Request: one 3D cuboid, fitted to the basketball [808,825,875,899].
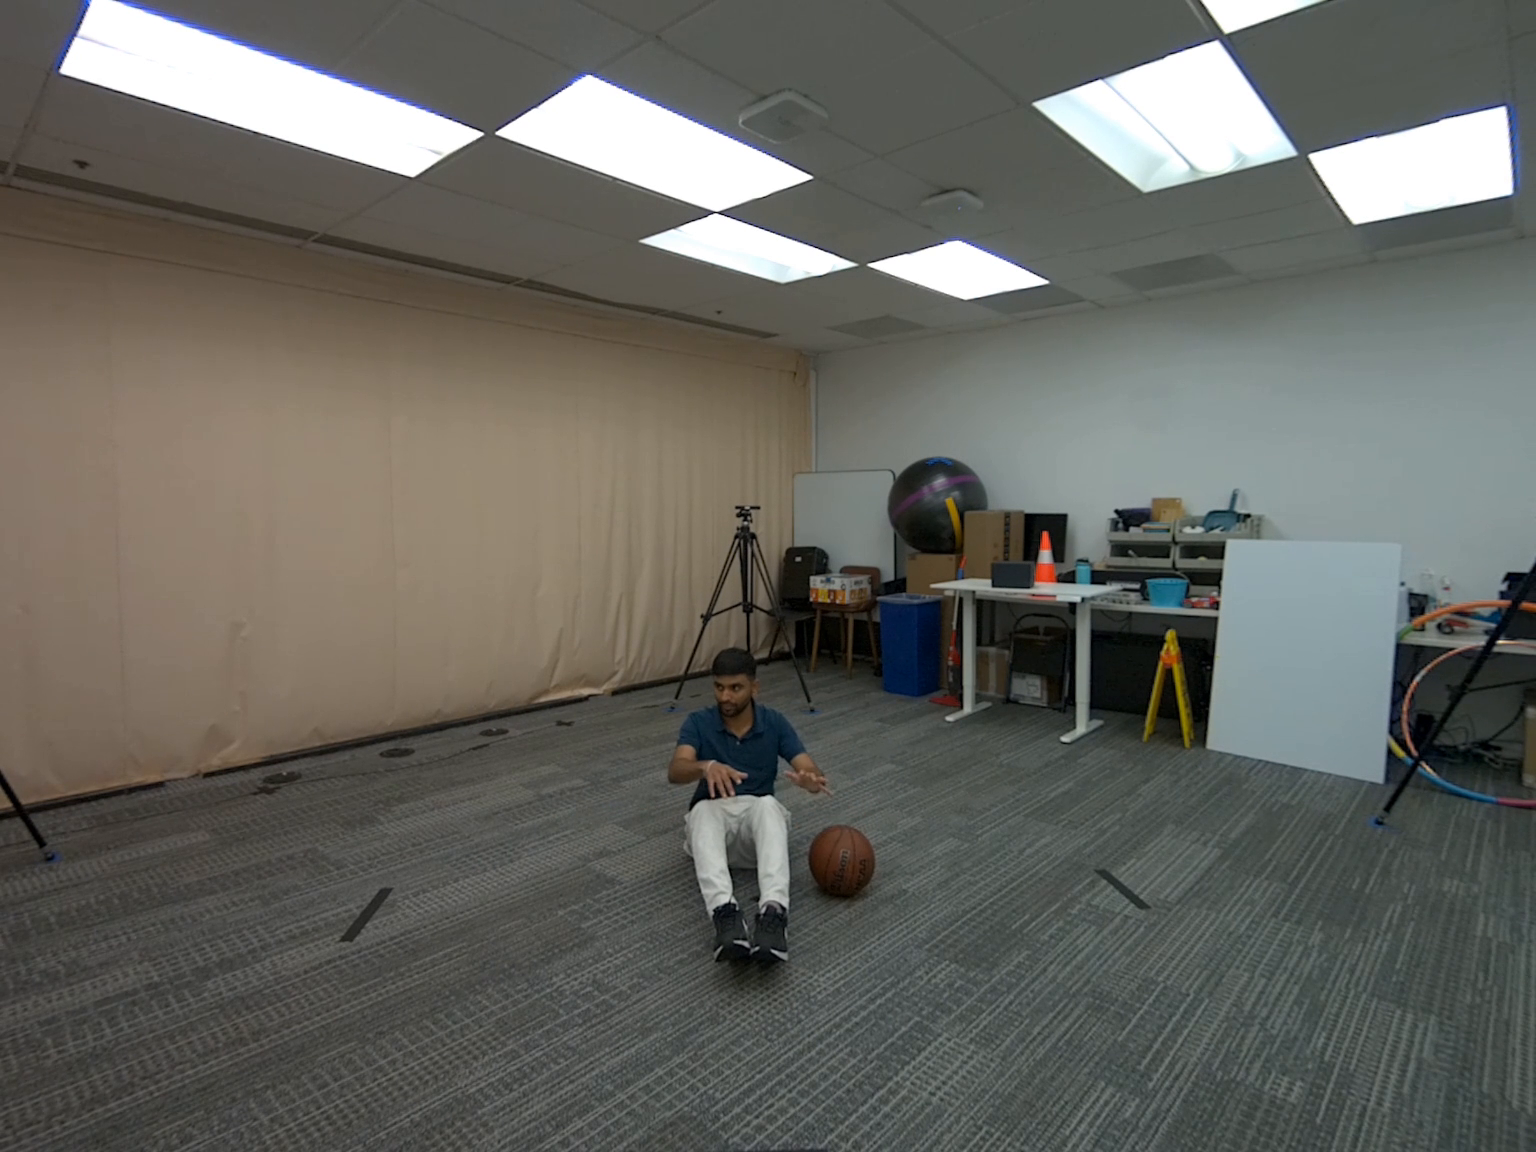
[{"bbox_3d":[0.271,1.019,3.022,0.236,0.235,0.237,0,4,-2],"label":"basketball"}]
